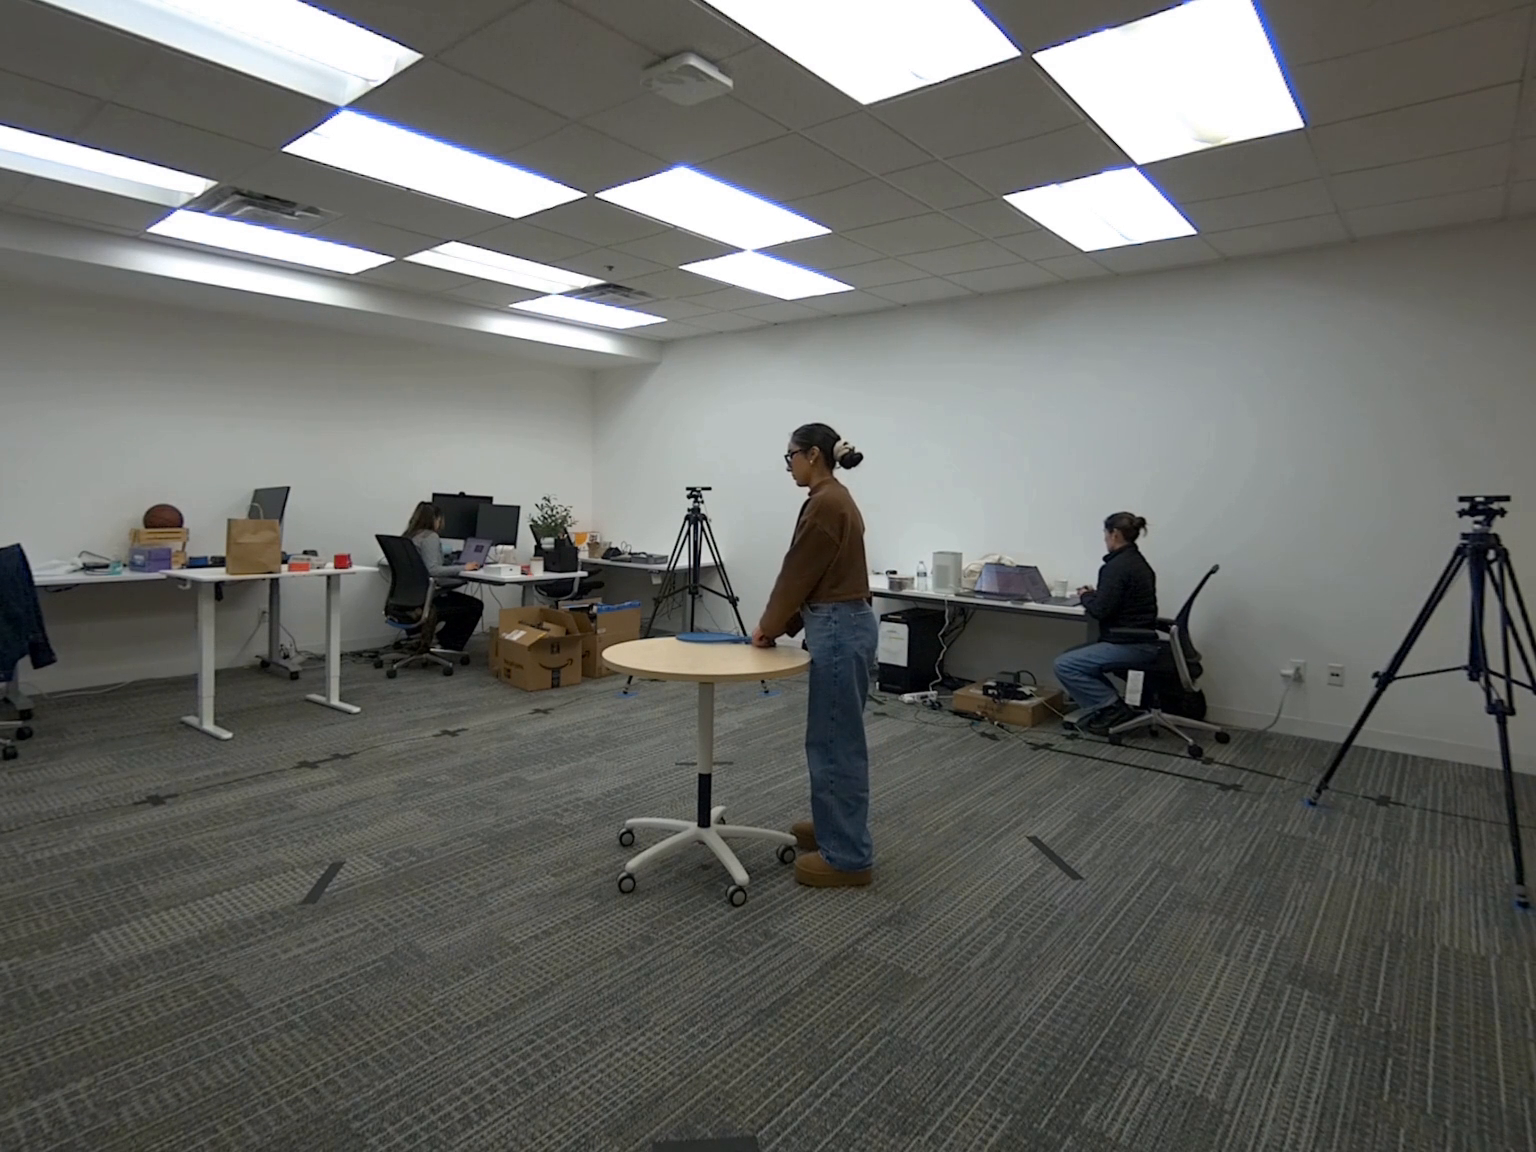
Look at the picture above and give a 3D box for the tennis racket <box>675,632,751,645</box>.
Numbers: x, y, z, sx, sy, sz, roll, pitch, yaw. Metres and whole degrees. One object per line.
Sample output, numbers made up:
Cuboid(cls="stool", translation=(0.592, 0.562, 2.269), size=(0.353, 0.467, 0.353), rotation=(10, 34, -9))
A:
Cuboid(cls="tennis racket", translation=(-0.194, 0.246, 3.399), size=(0.445, 0.031, 0.208), rotation=(2, 5, 29))
